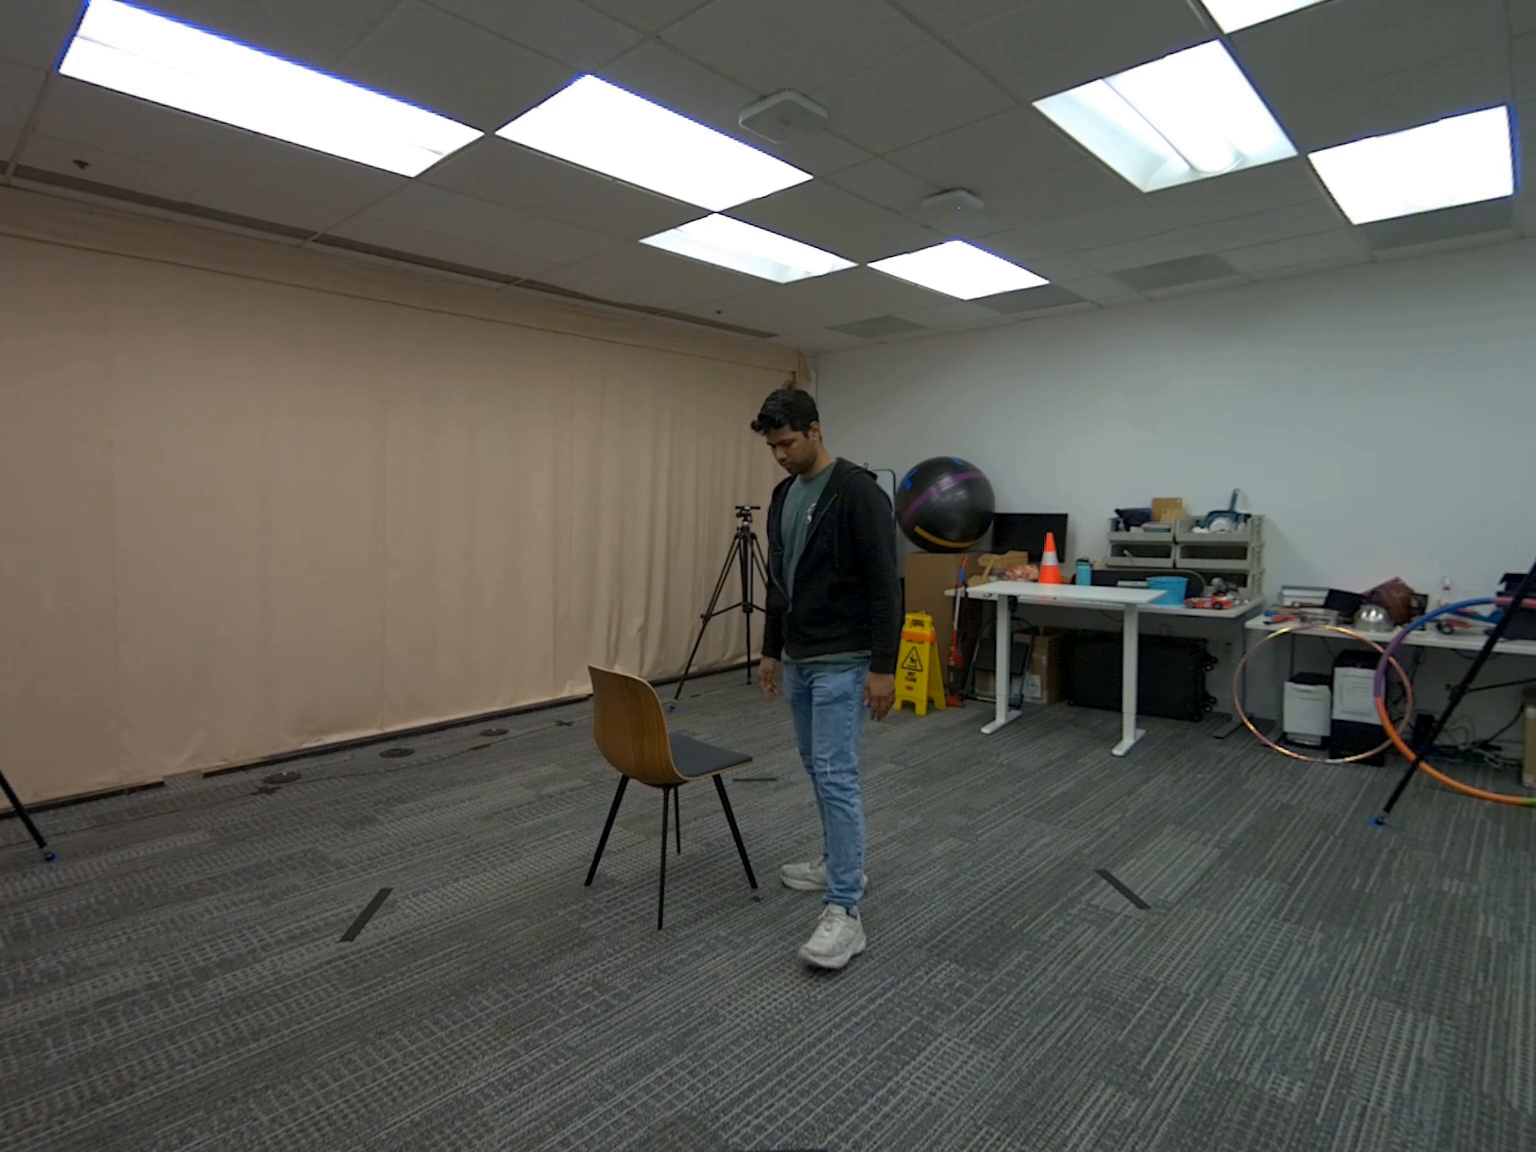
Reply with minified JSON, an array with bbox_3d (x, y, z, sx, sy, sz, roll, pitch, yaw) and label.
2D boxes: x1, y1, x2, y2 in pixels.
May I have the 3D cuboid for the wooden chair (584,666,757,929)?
[{"bbox_3d":[-0.350,0.716,3.055,0.508,0.874,0.494,-9,8,-43],"label":"wooden chair"}]
